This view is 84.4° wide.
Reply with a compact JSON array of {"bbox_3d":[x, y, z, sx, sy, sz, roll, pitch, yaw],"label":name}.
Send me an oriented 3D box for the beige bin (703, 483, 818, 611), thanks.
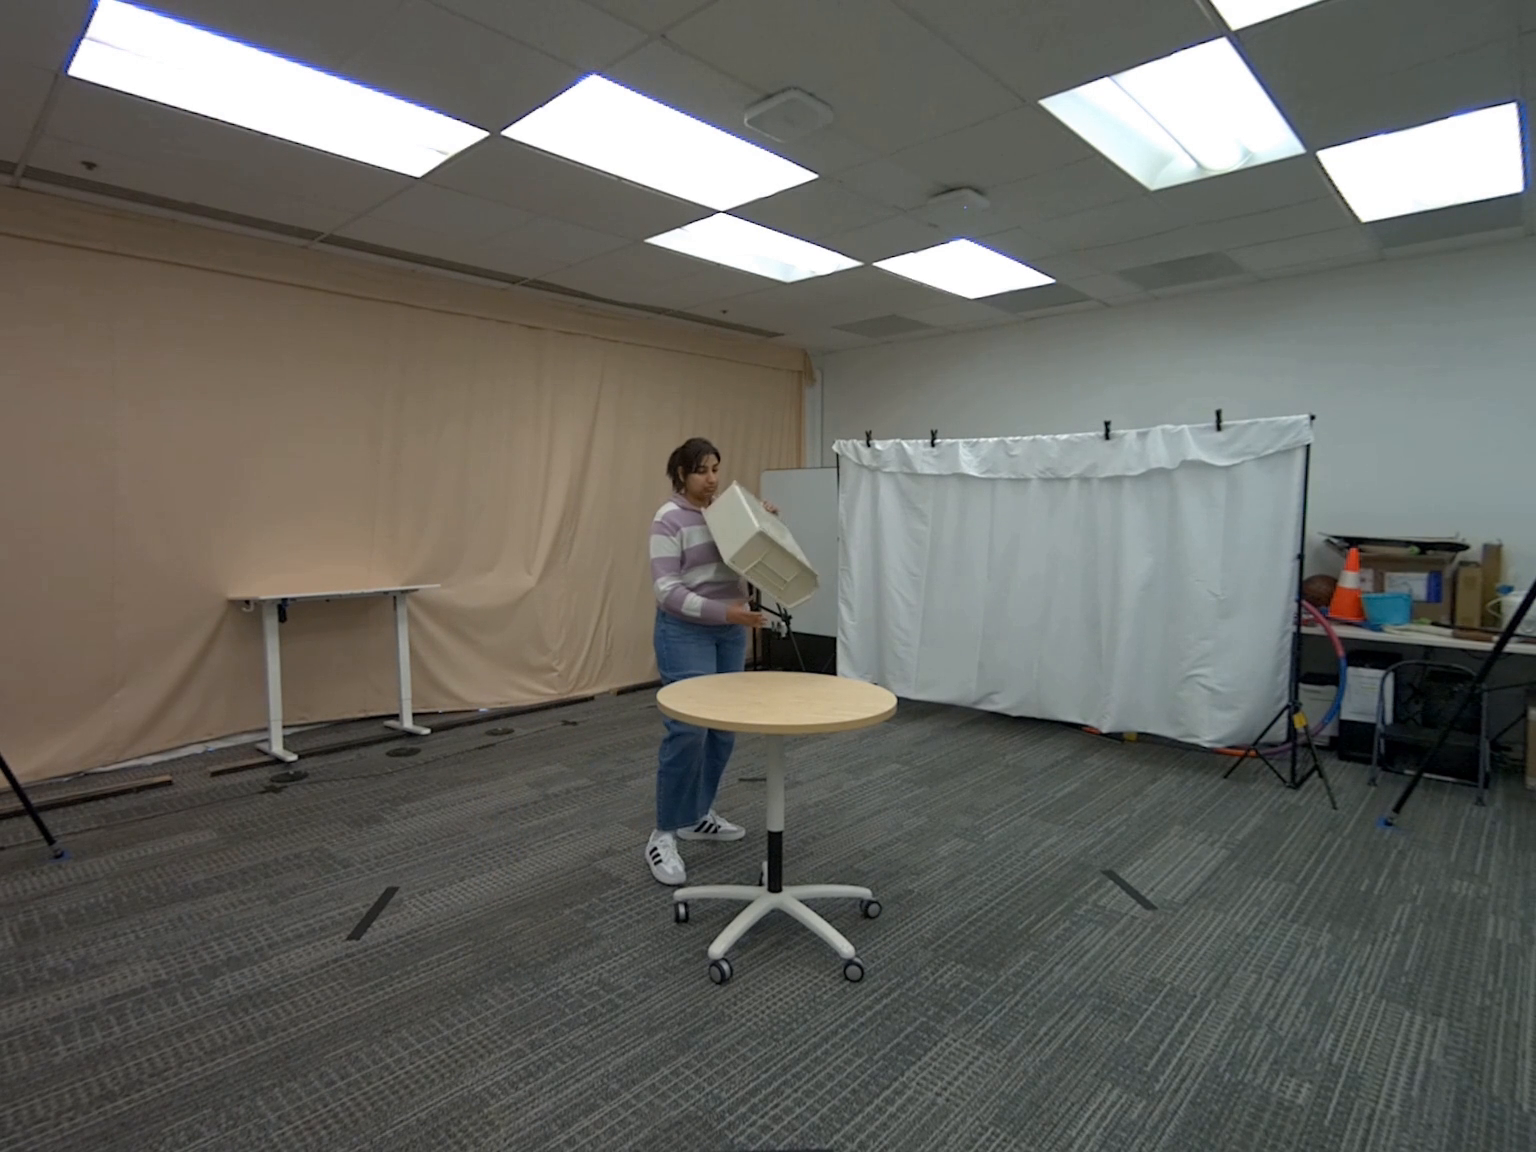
[{"bbox_3d":[-0.015,-0.112,3.215,0.365,0.190,0.434,38,14,-31],"label":"beige bin"}]
